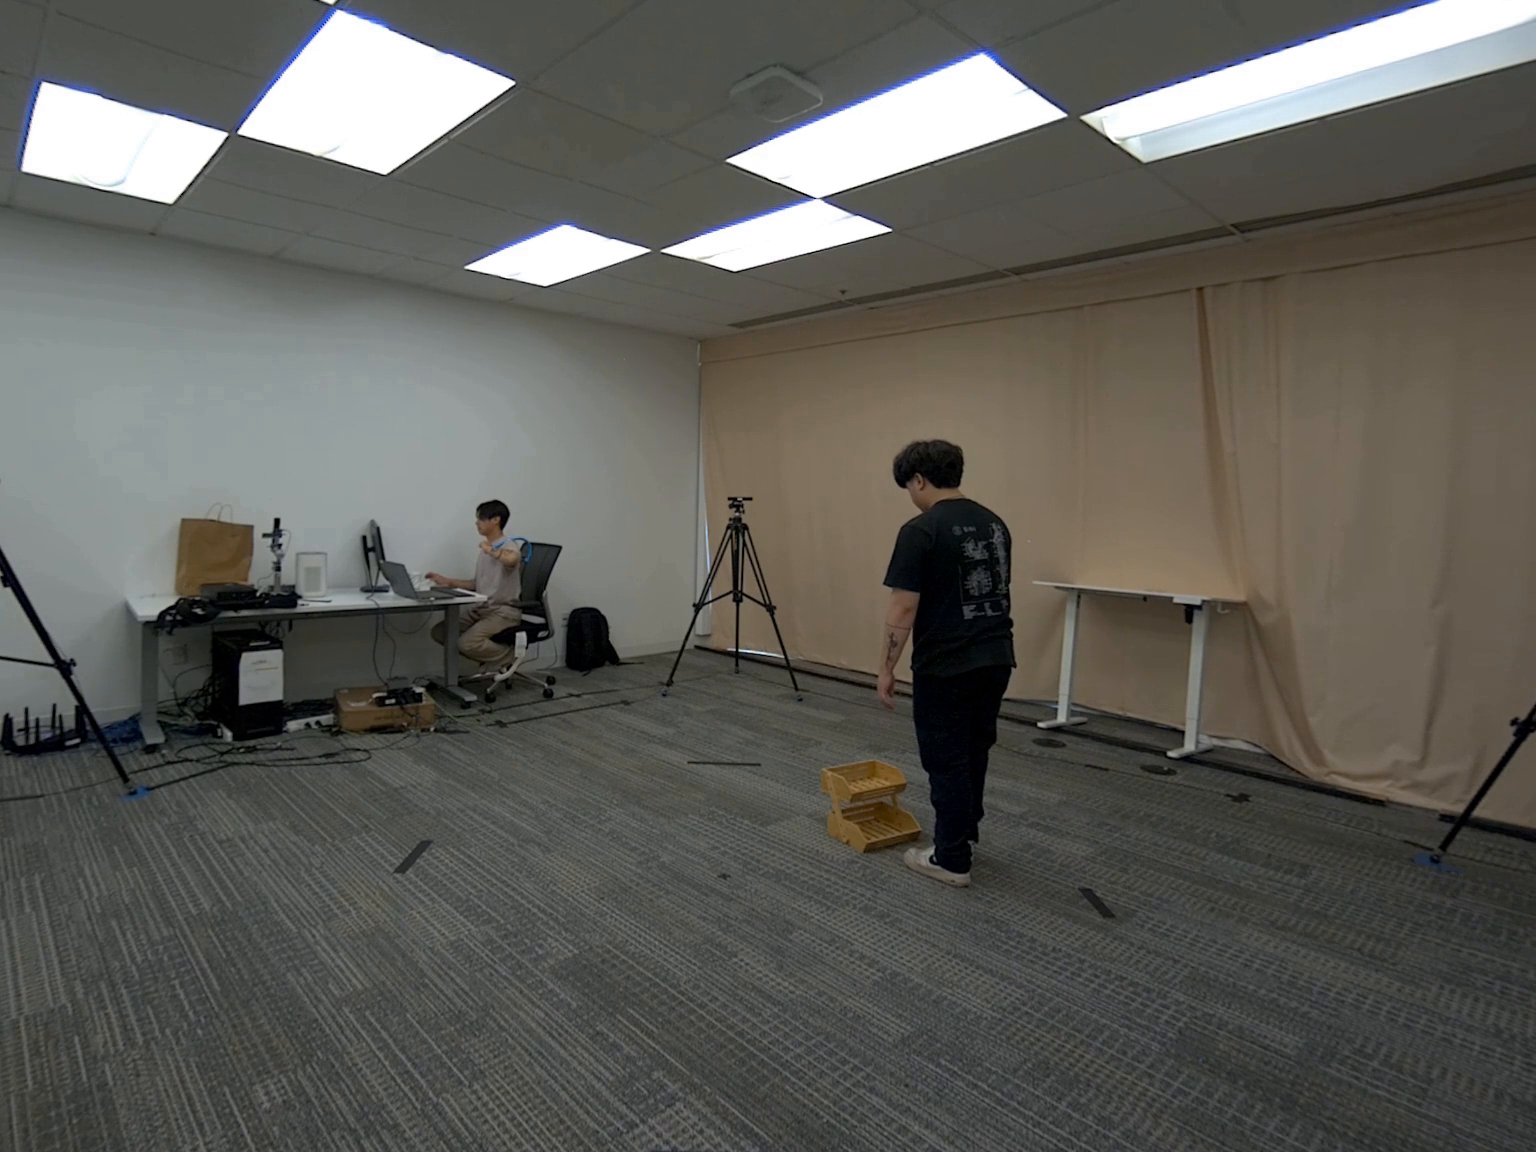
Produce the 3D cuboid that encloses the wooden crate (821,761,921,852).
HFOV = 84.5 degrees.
[{"bbox_3d":[0.422,0.952,3.529,0.317,0.273,0.309,-1,4,-33],"label":"wooden crate"}]
